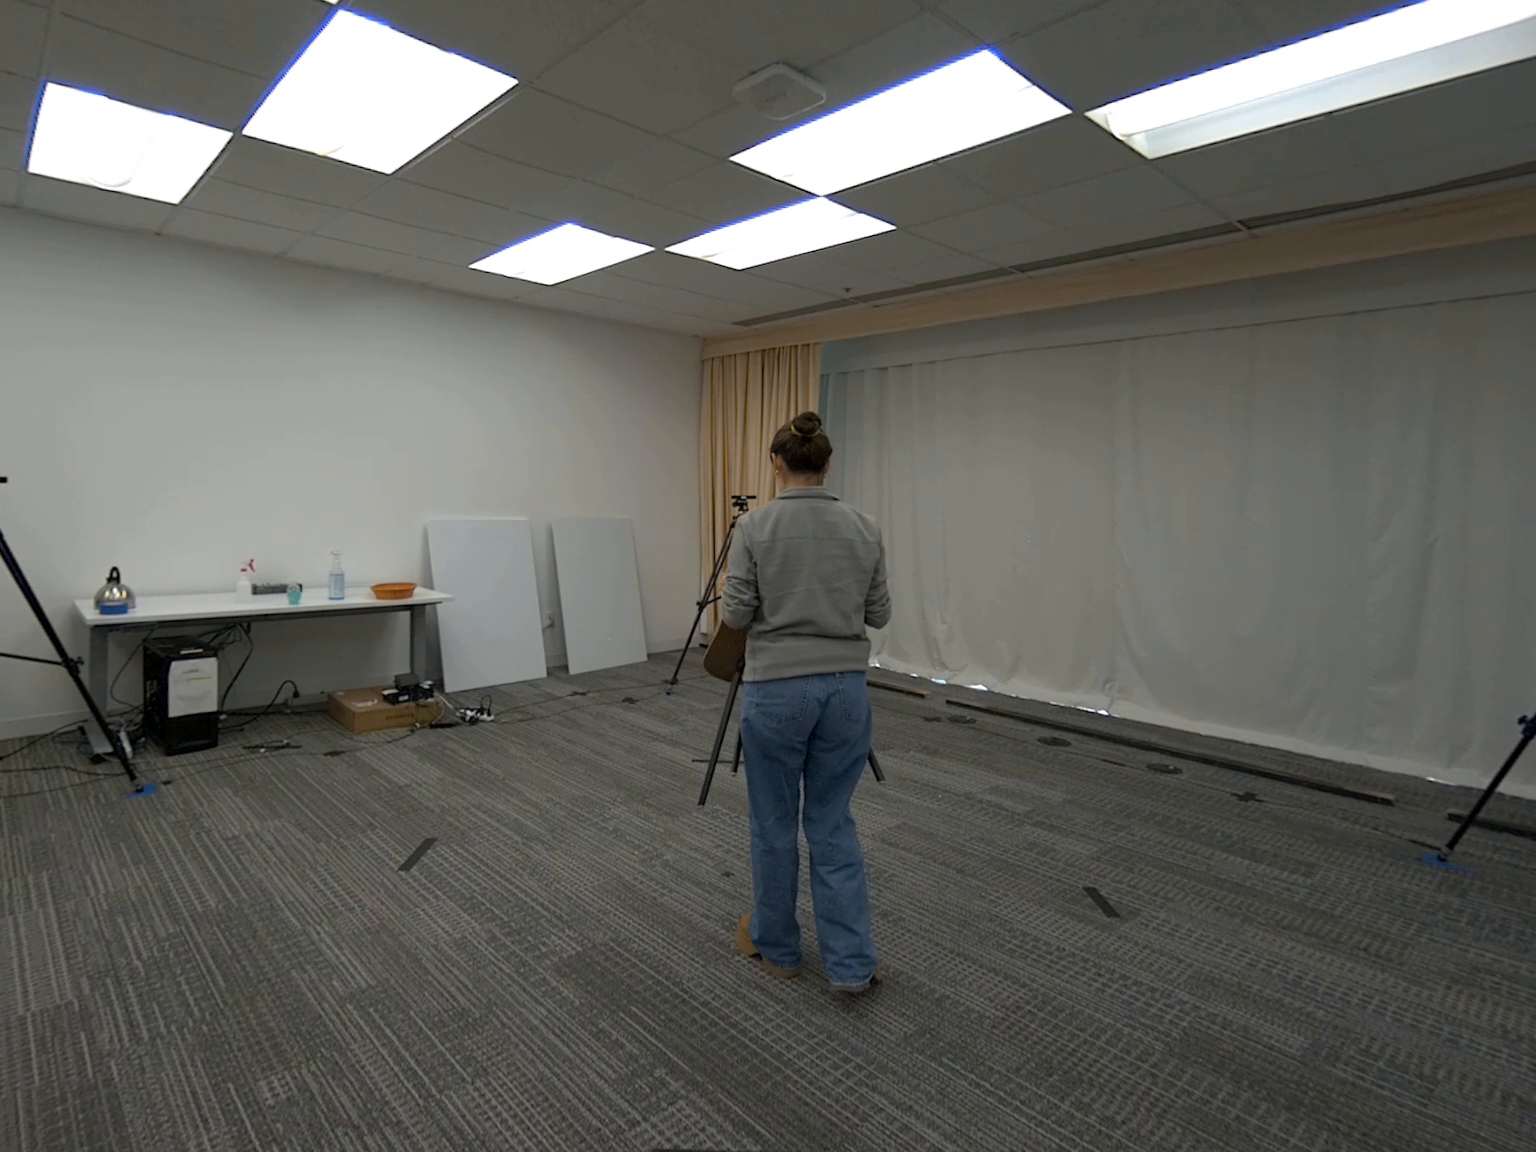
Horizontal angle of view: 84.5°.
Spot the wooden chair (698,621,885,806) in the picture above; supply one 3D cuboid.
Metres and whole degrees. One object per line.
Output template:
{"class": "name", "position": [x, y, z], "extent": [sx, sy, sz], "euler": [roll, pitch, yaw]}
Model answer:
{"class": "wooden chair", "position": [0.040, 0.288, 2.743], "extent": [0.473, 0.892, 0.520], "euler": [6, -24, -13]}
